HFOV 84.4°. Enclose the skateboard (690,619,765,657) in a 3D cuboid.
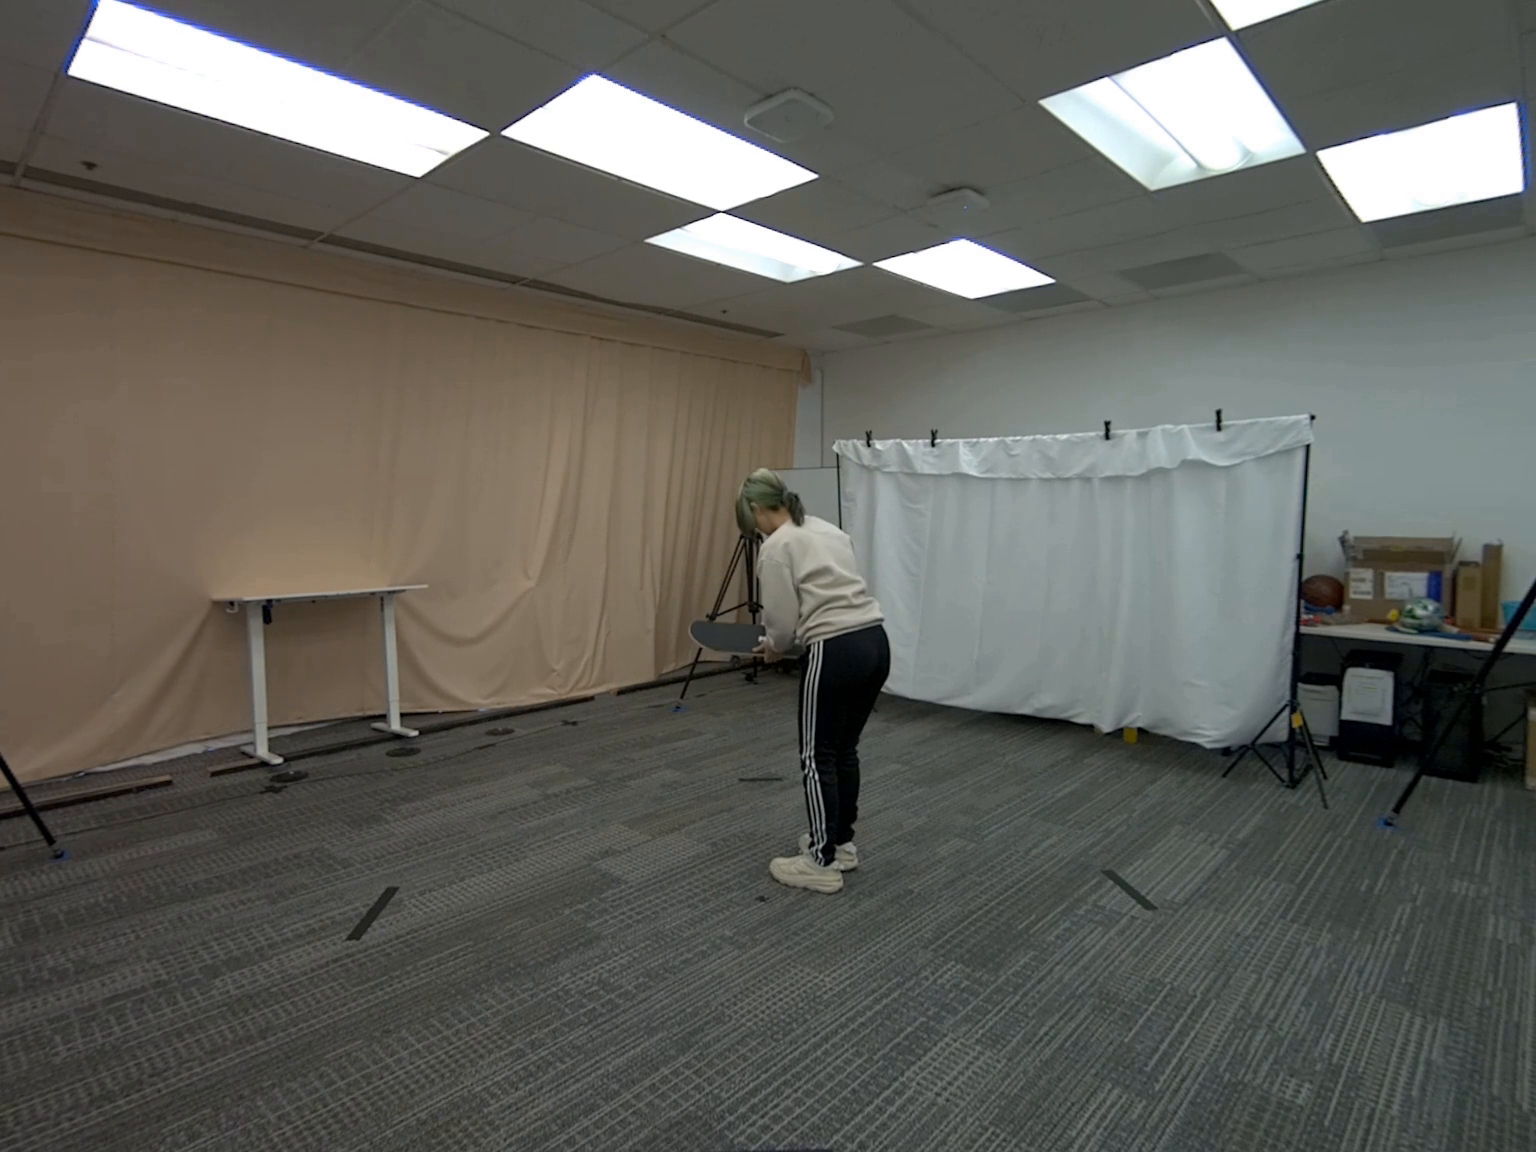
[{"bbox_3d":[0.074,0.303,3.466,0.774,0.109,0.198,6,31,-12],"label":"skateboard"}]
